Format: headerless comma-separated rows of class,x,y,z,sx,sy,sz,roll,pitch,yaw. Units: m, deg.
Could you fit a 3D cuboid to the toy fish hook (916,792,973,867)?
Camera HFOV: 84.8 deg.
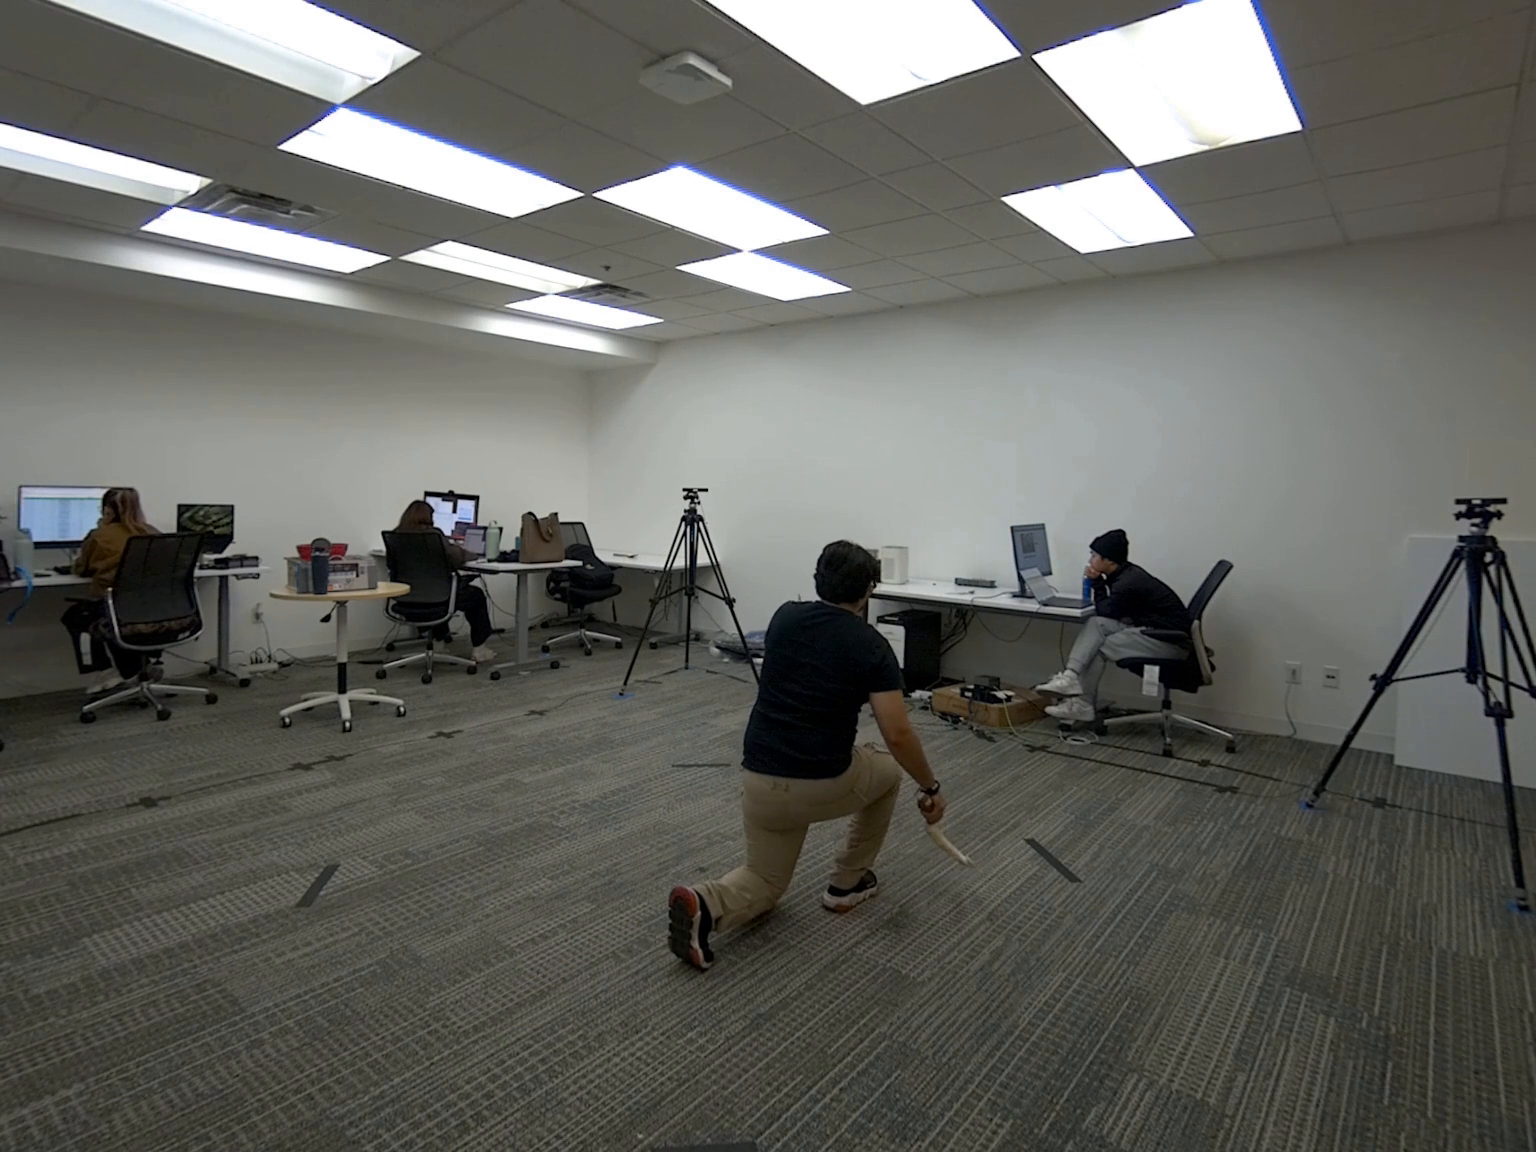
toy fish hook,0.588,0.850,2.833,0.234,0.048,0.487,34,-17,34
